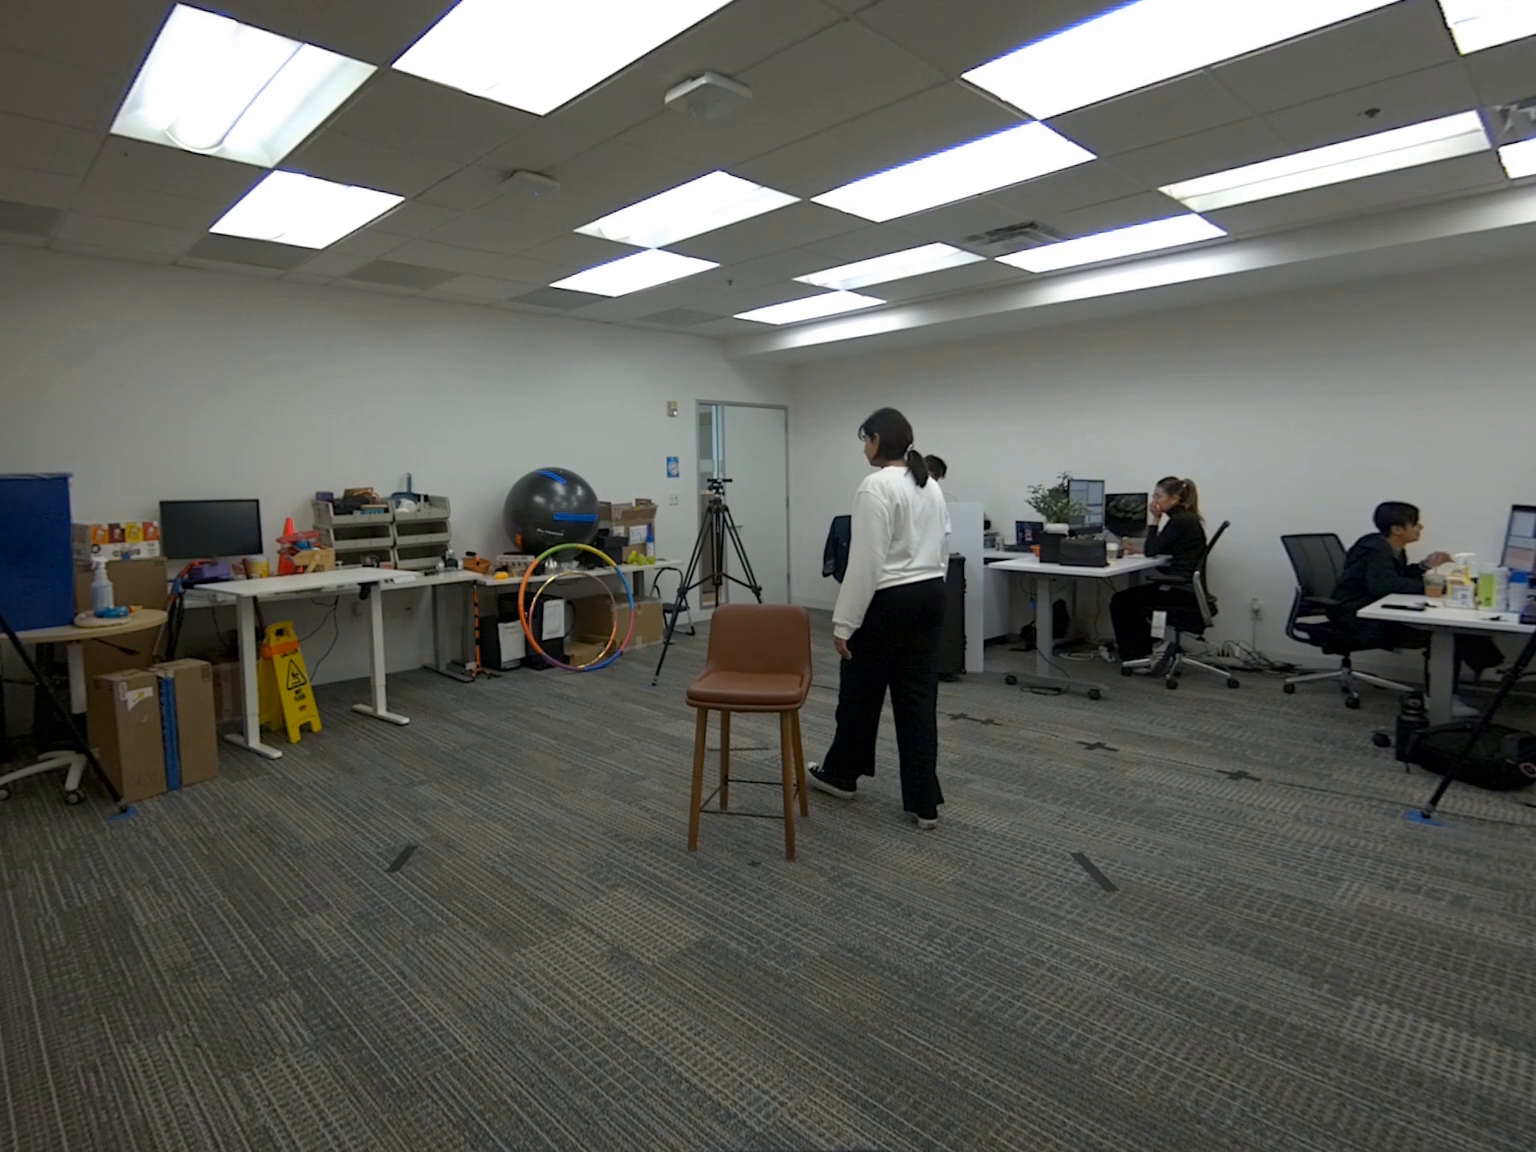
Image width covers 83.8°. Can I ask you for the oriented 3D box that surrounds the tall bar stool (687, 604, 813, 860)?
[{"bbox_3d":[-0.063,0.581,3.367,0.463,0.888,0.462,0,2,14],"label":"tall bar stool"}]
